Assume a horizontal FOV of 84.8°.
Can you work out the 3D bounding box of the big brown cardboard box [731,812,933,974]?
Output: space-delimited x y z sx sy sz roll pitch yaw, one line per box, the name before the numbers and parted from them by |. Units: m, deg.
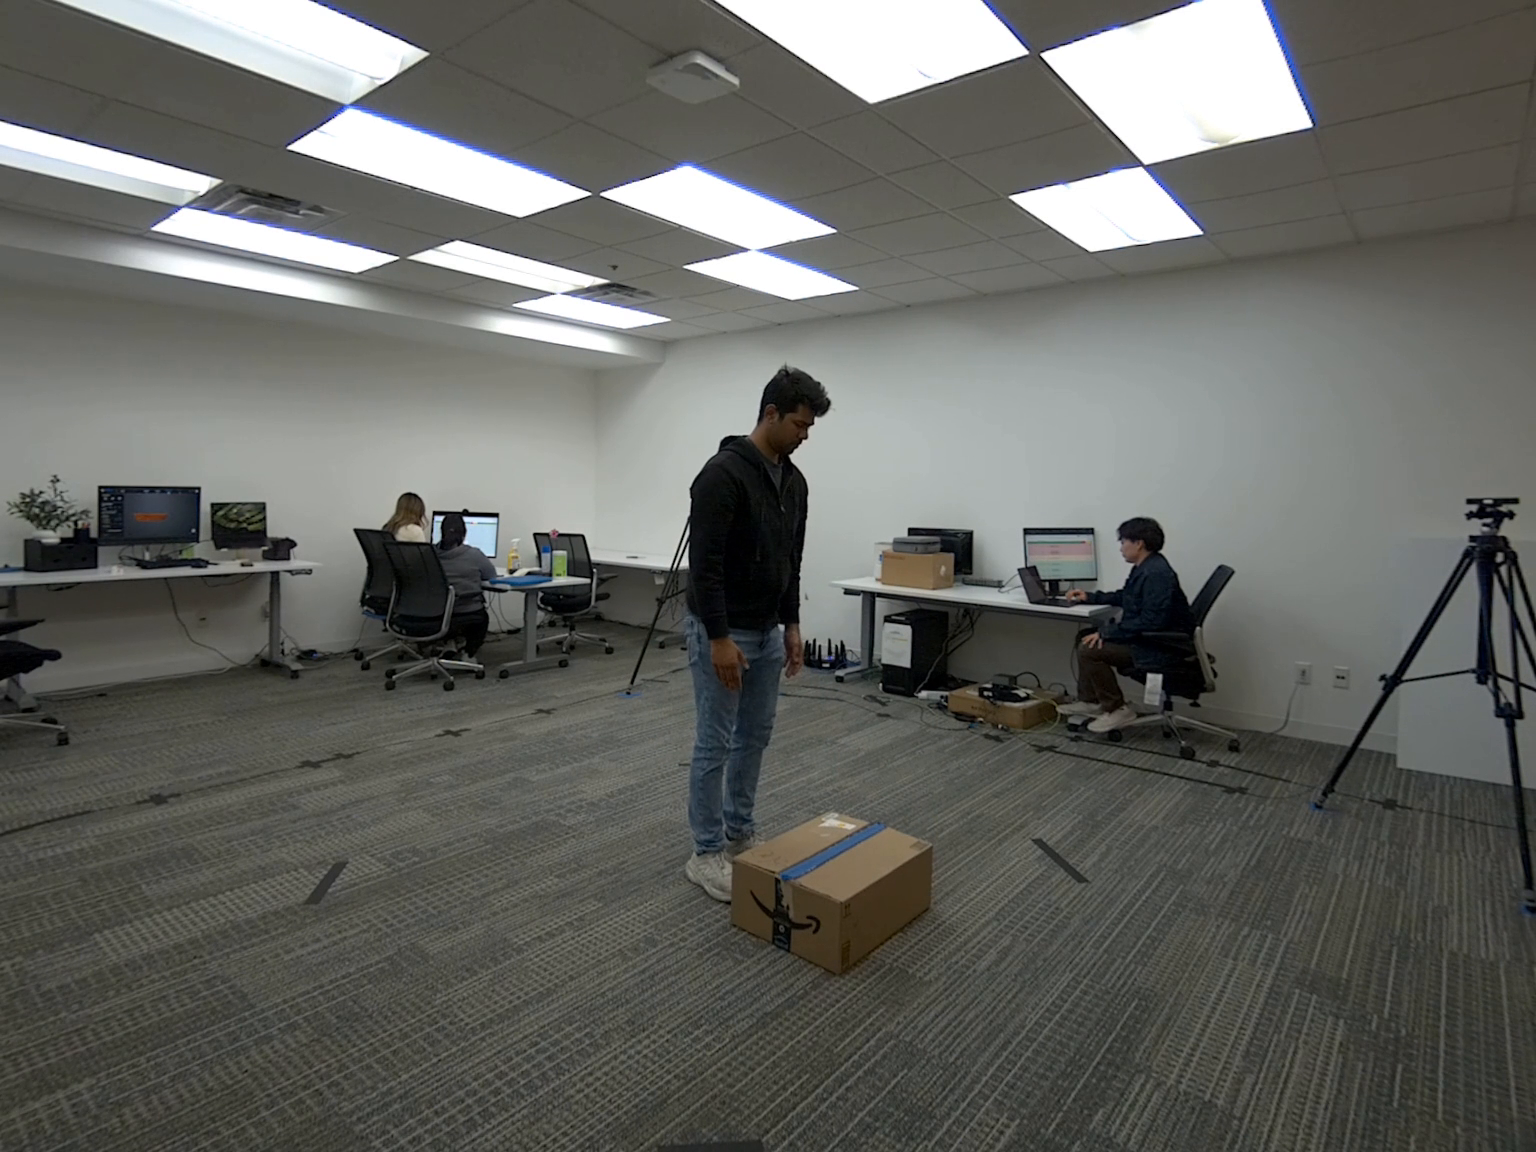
big brown cardboard box | 0.213 0.998 2.778 0.432 0.232 0.572 6 8 39
